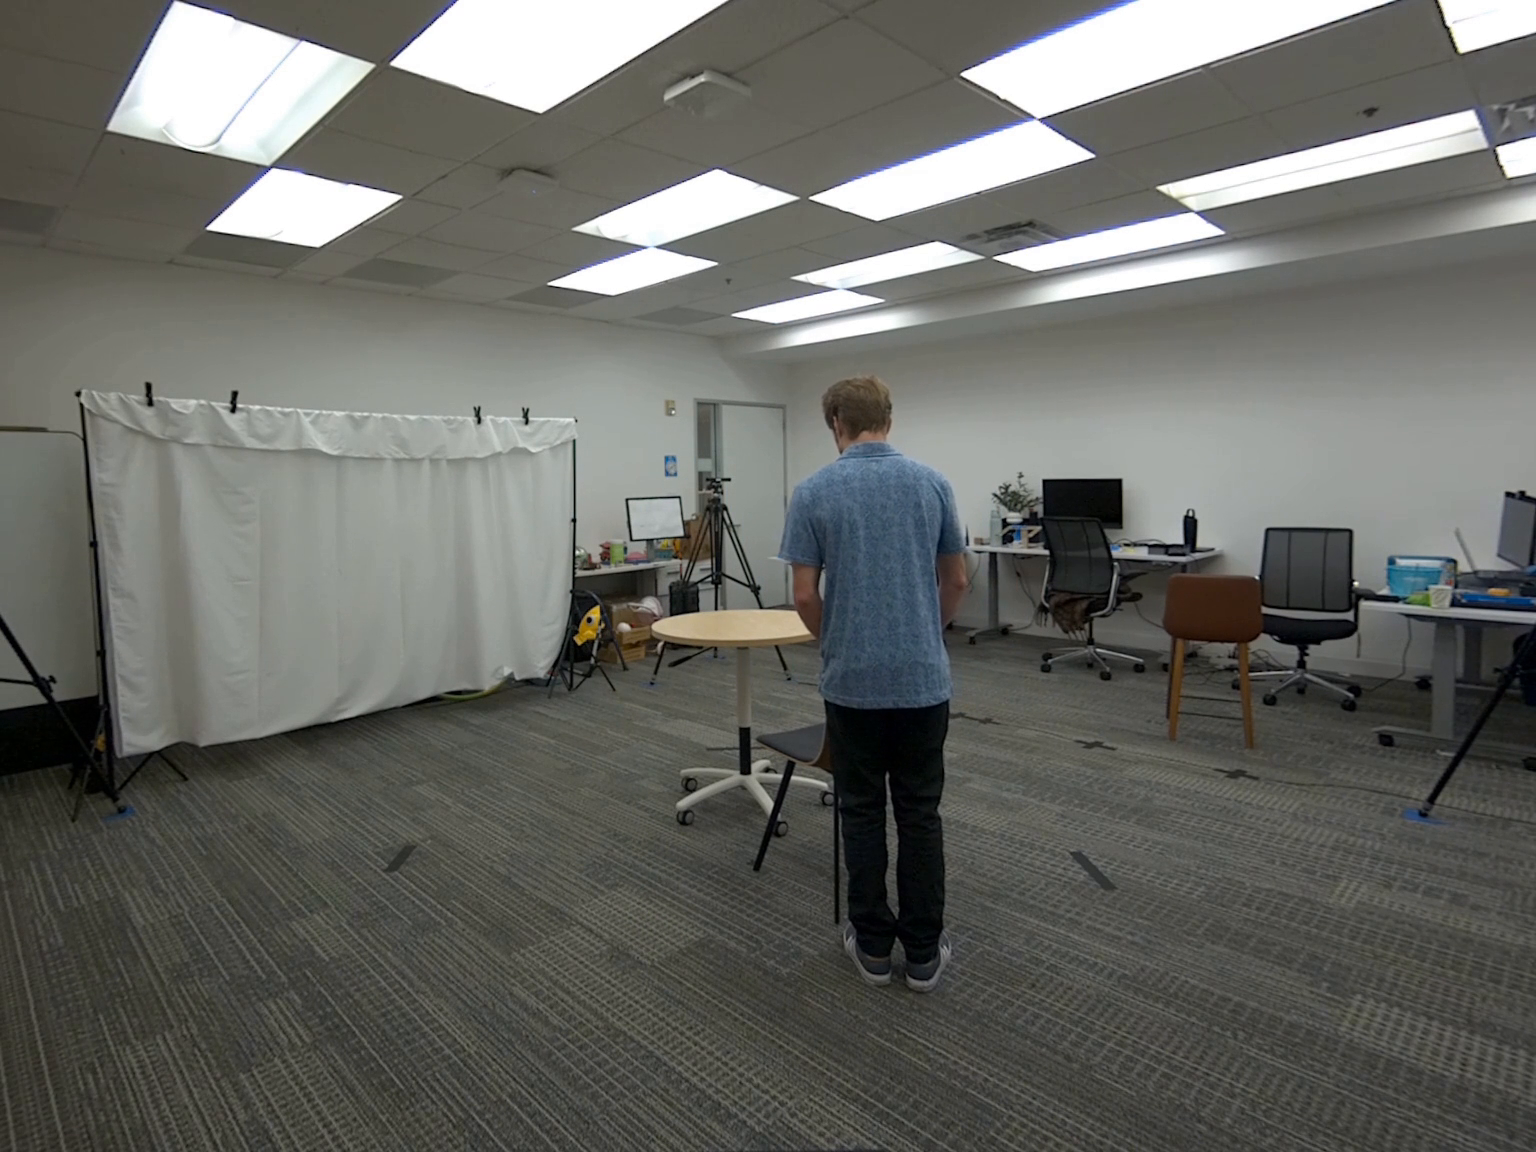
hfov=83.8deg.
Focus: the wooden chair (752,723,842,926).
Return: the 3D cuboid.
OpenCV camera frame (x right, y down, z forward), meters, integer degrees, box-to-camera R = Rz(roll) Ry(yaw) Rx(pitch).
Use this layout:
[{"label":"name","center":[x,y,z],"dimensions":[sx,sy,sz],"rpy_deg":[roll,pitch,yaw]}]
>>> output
[{"label":"wooden chair","center":[0.256,0.629,2.949],"dimensions":[0.466,0.871,0.540],"rpy_deg":[-4,10,-35]}]
